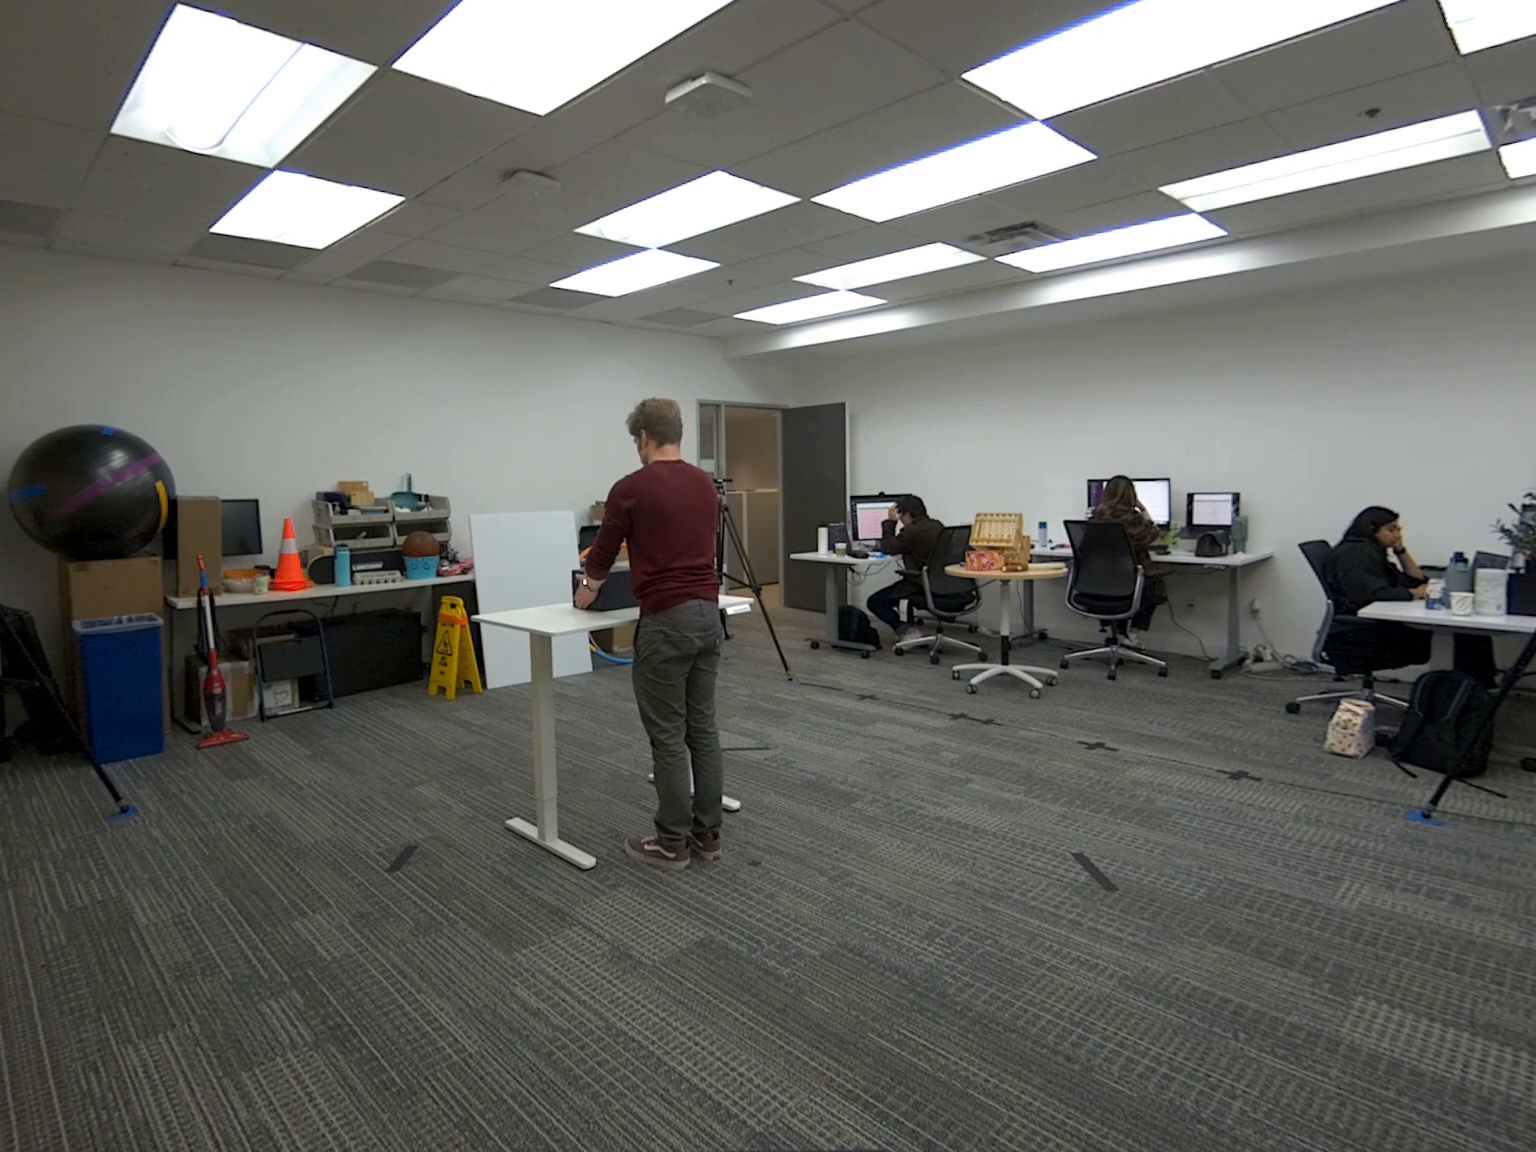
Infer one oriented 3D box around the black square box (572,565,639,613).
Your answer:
[{"bbox_3d":[-0.646,0.047,3.528,0.223,0.155,0.222,3,7,44],"label":"black square box"}]
